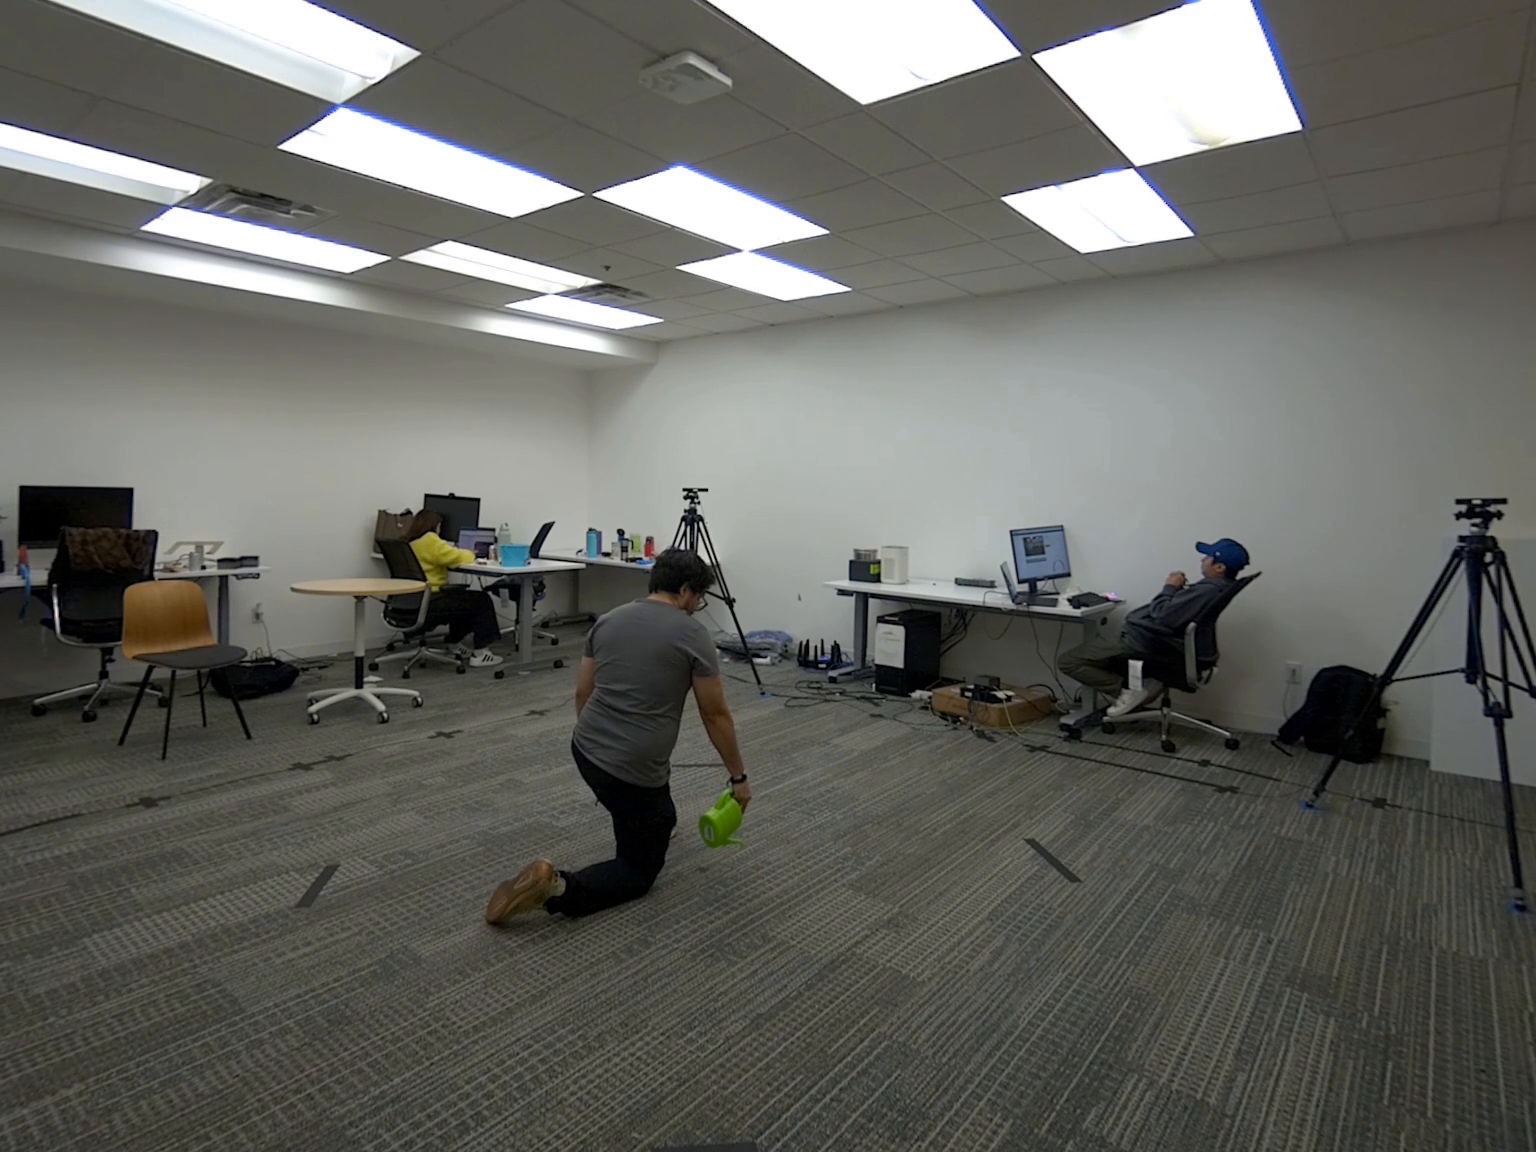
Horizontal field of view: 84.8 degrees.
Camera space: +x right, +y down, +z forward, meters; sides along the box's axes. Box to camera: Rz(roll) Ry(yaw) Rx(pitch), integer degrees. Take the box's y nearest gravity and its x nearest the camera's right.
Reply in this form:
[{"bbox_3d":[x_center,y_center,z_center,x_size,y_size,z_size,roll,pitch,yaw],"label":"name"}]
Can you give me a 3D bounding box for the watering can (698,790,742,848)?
[{"bbox_3d":[-0.155,0.893,2.979,0.101,0.275,0.174,-6,14,41],"label":"watering can"}]
